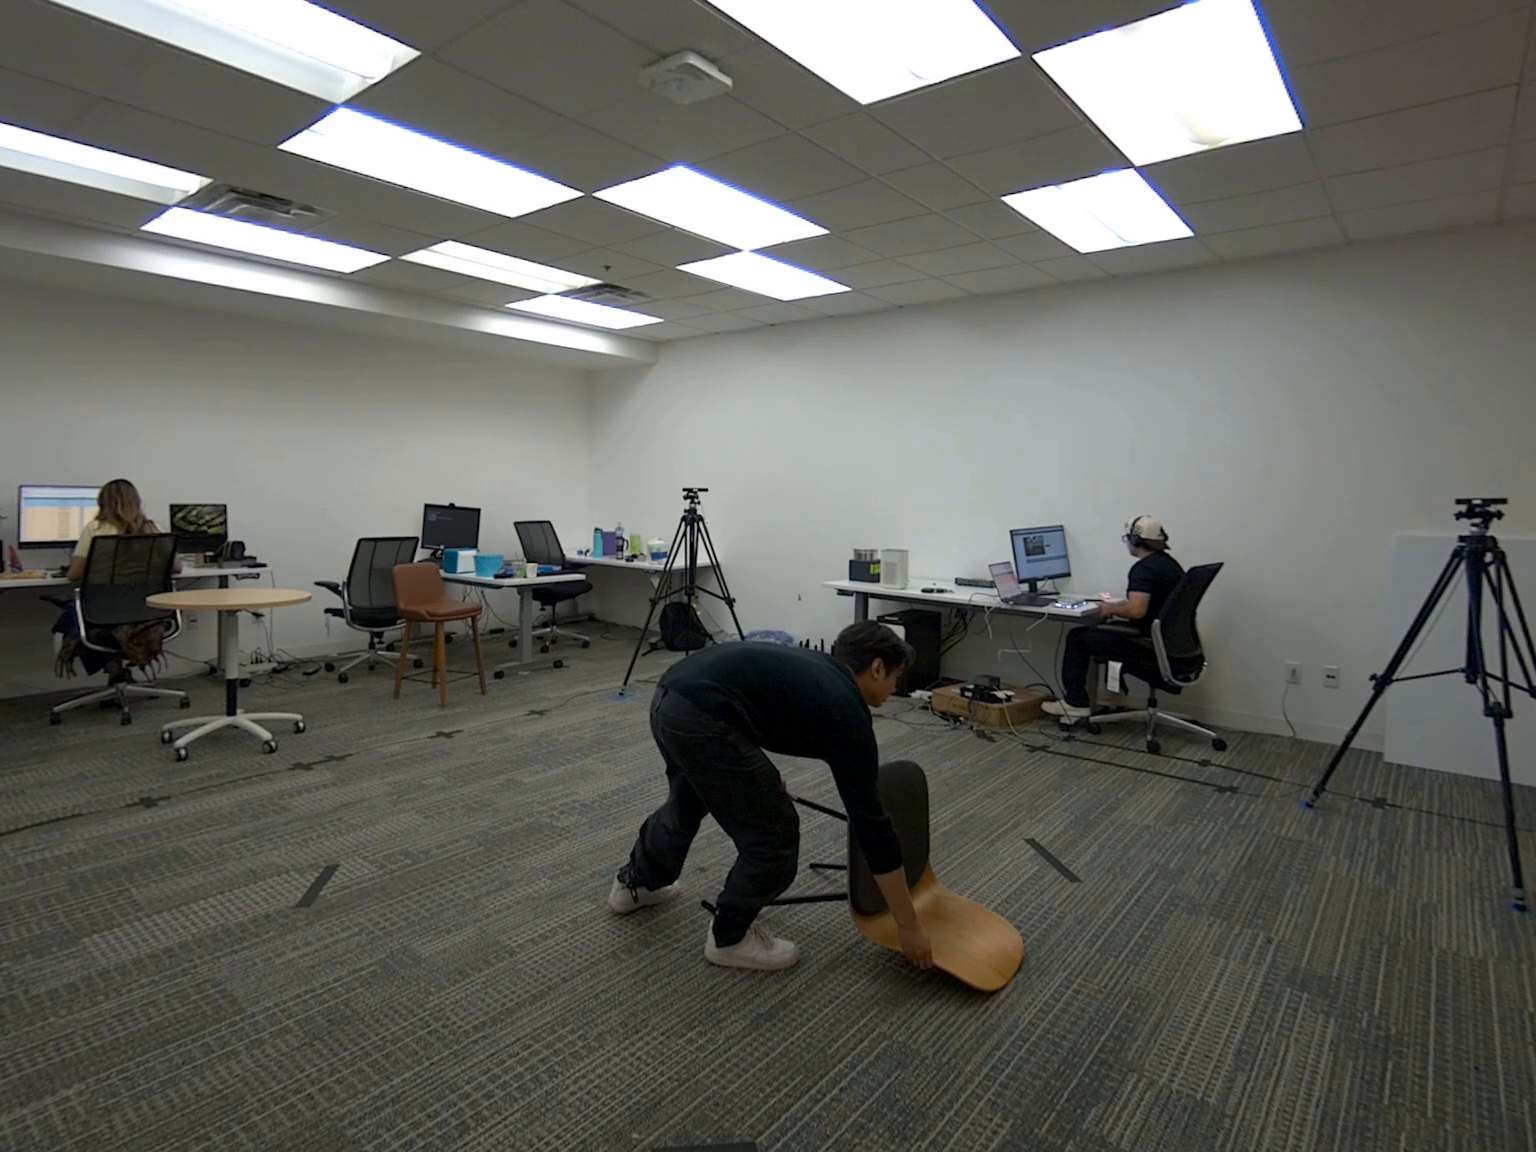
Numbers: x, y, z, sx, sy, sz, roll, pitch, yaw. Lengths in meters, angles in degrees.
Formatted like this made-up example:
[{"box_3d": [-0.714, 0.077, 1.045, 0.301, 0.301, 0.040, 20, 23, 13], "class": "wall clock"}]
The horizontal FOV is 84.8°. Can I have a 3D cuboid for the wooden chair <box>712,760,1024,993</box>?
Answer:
[{"box_3d": [0.344, 0.866, 2.691, 0.908, 0.521, 0.464, 7, 7, 41], "class": "wooden chair"}]
